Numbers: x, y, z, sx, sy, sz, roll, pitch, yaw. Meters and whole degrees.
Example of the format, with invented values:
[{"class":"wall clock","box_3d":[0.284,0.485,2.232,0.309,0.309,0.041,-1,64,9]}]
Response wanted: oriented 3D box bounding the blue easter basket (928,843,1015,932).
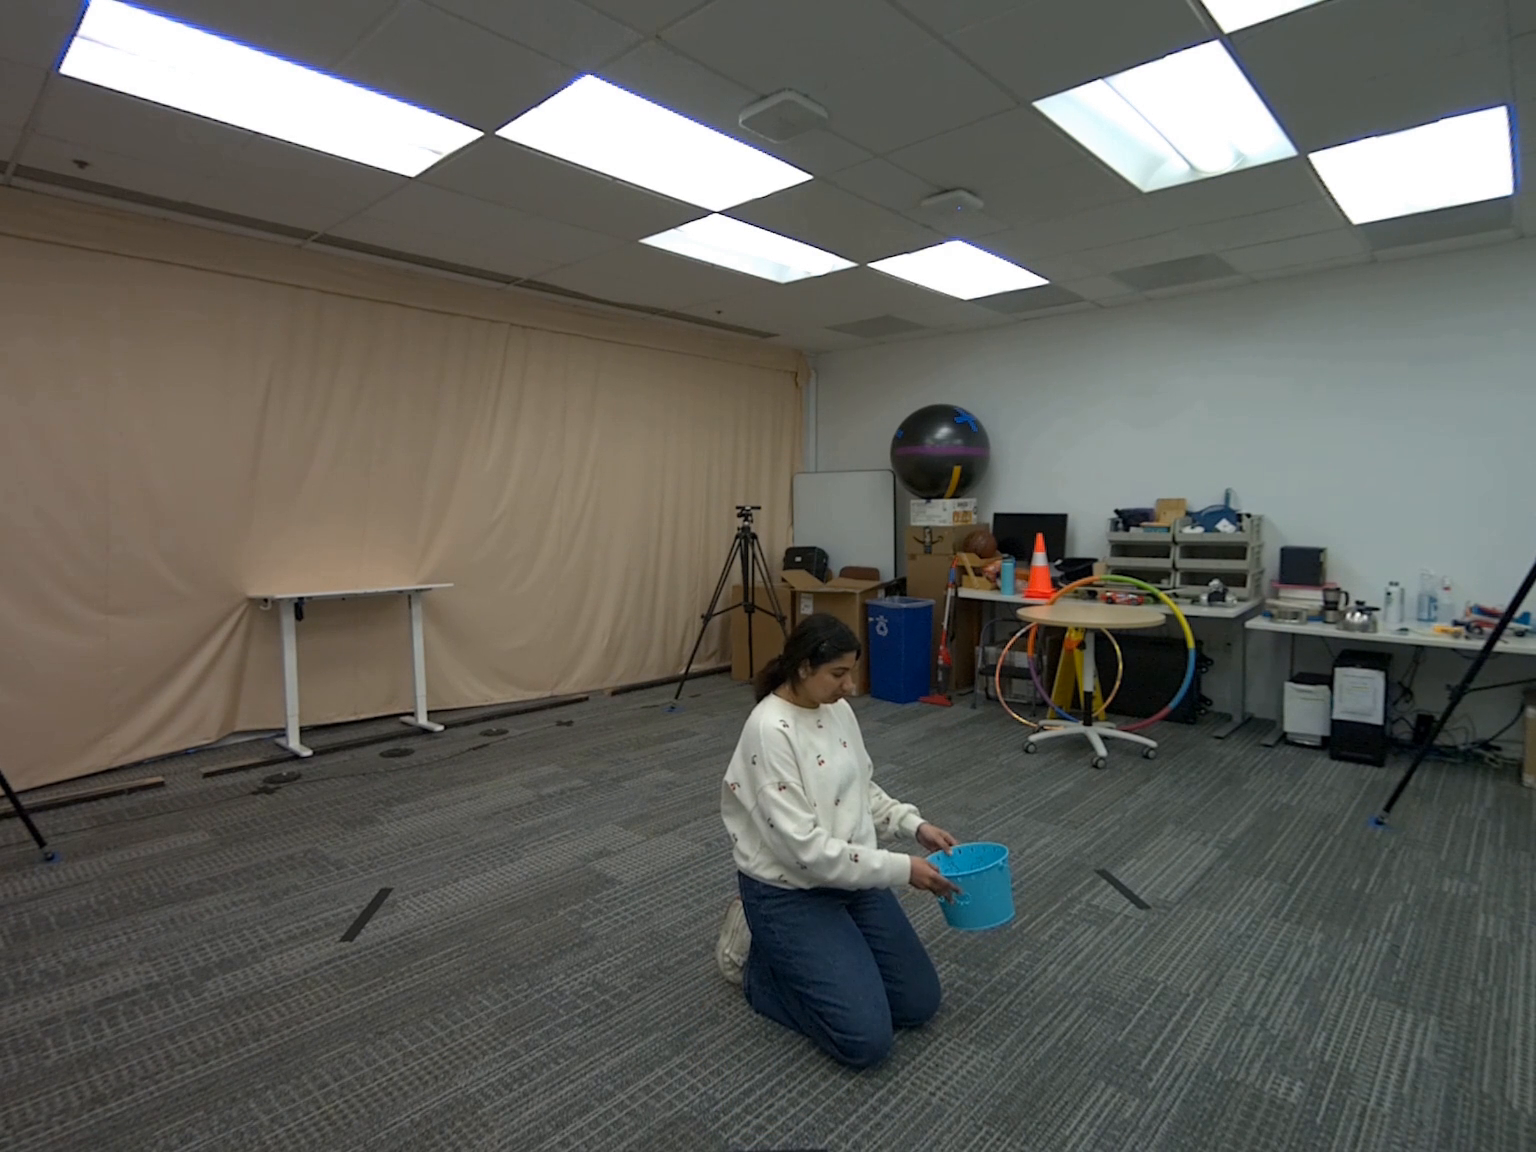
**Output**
[{"class":"blue easter basket","box_3d":[0.557,0.828,2.208,0.243,0.156,0.243,-13,-3,-3]}]
